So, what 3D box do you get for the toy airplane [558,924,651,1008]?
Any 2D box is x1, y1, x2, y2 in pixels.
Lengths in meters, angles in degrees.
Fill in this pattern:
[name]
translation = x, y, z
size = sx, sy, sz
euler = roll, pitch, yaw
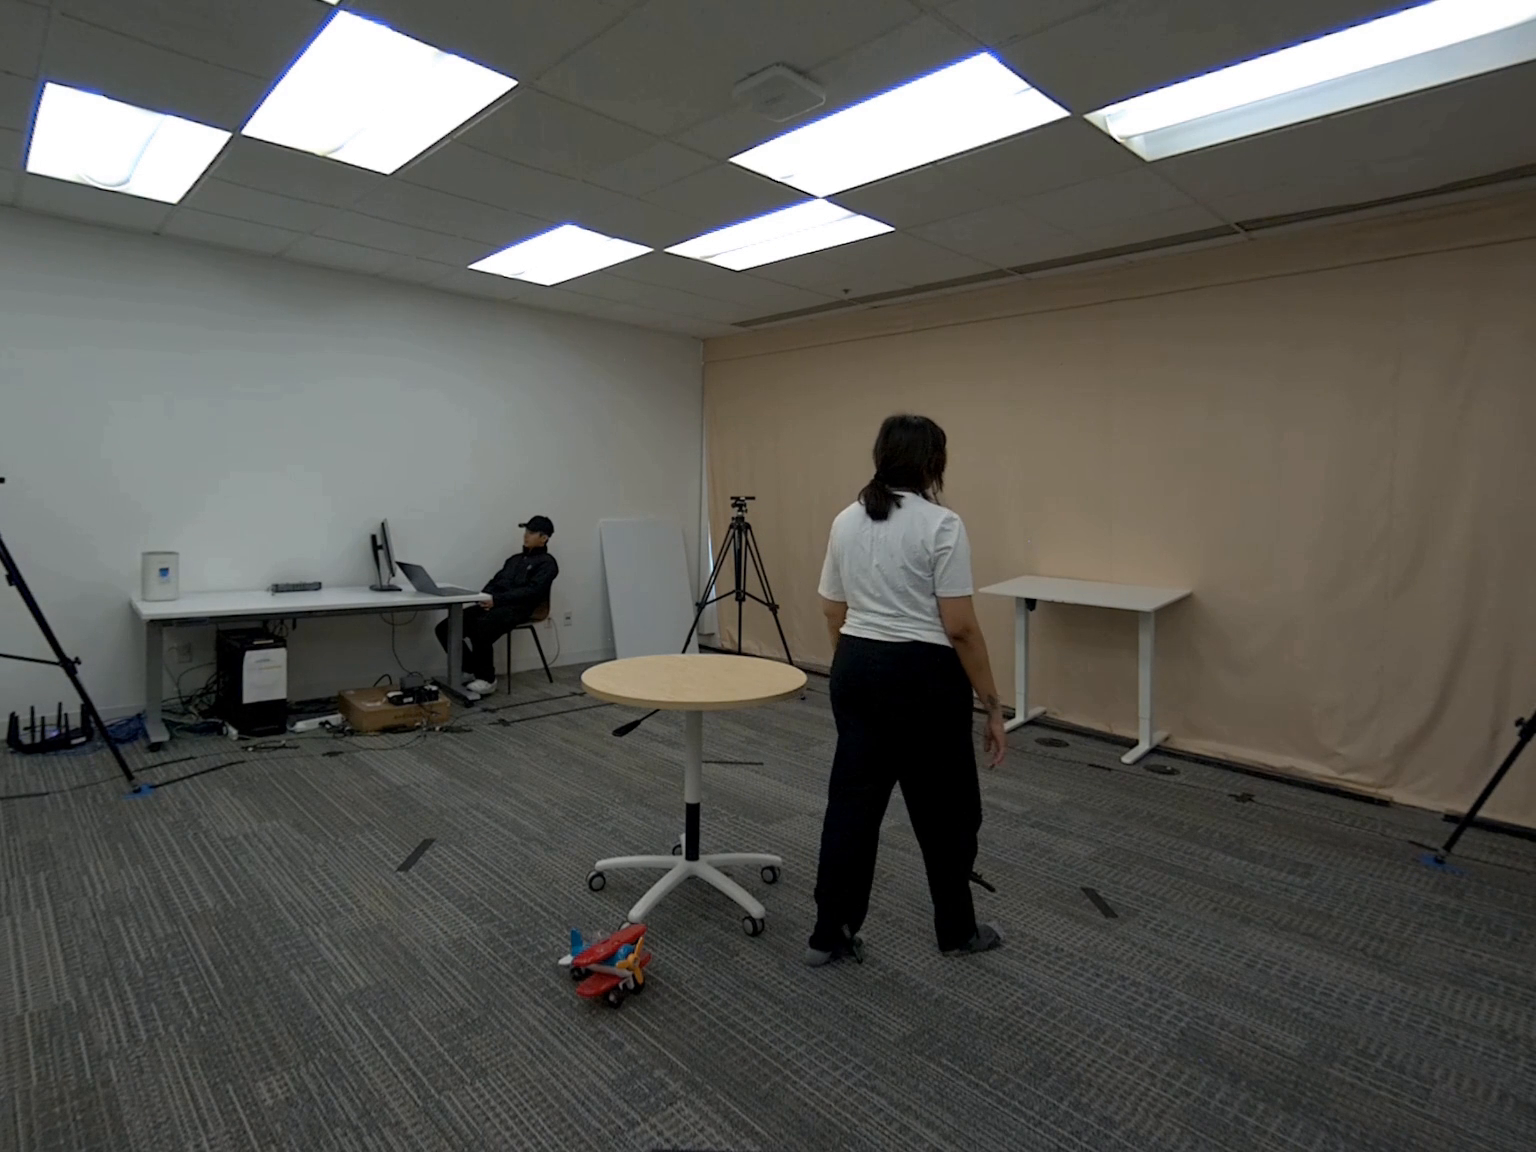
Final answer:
[toy airplane]
translation = -0.483, 1.092, 2.347
size = 0.261, 0.156, 0.250
euler = 2, 5, 6
